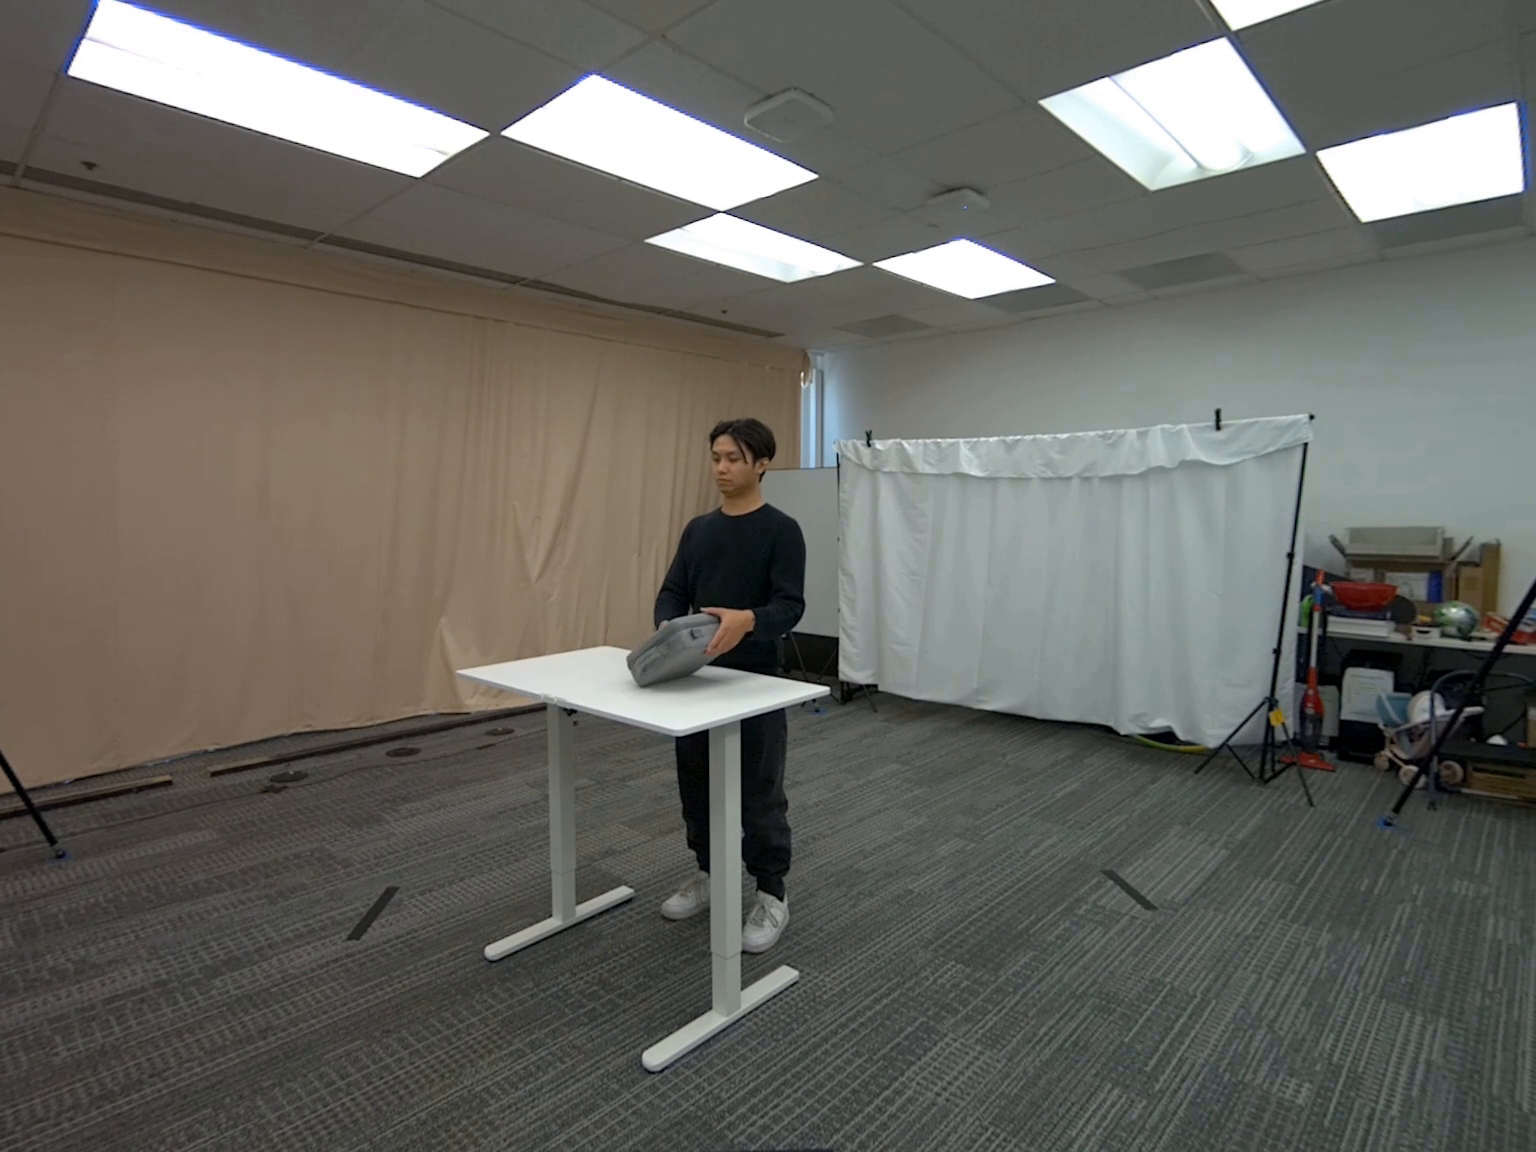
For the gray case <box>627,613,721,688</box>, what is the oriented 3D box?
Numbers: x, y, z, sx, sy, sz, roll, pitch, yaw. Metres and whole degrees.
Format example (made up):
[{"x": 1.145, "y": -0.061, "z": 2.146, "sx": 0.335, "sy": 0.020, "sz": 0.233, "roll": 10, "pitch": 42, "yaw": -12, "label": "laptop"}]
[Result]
[{"x": -0.243, "y": 0.204, "z": 2.409, "sx": 0.260, "sy": 0.106, "sz": 0.253, "roll": -36, "pitch": -17, "yaw": 34, "label": "gray case"}]
